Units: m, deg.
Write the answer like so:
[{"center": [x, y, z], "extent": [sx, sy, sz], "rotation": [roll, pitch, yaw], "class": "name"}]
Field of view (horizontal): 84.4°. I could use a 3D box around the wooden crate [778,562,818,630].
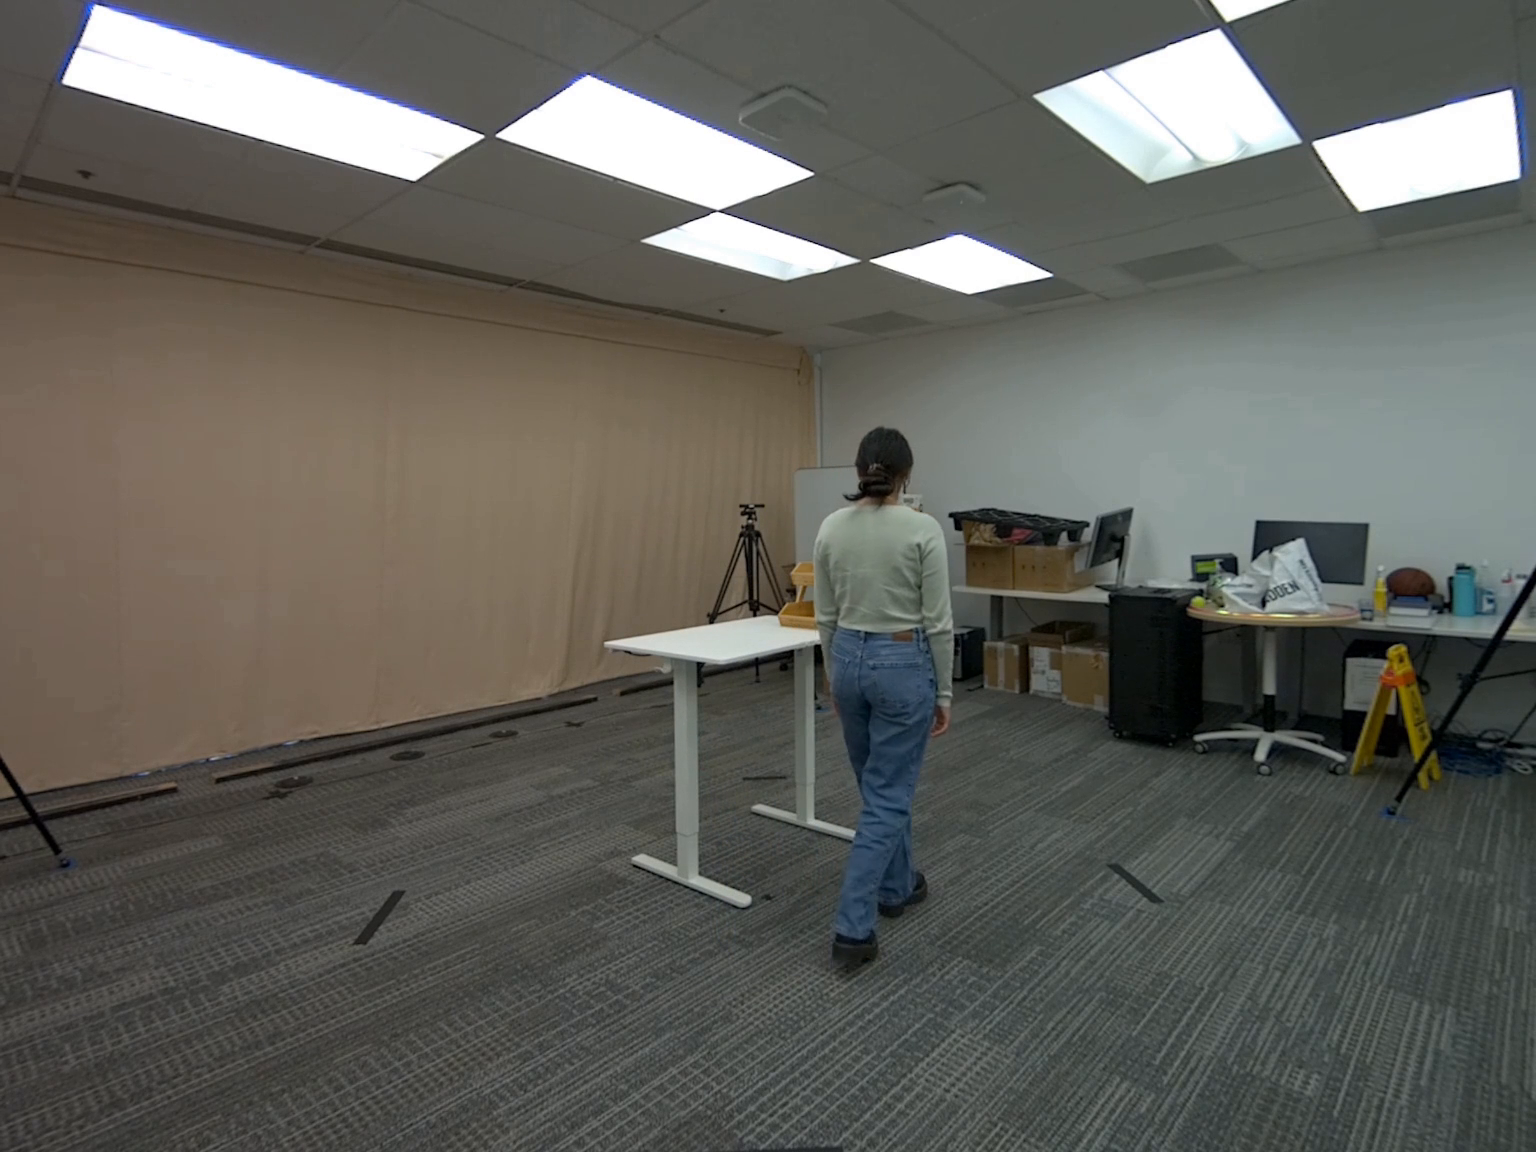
[{"center": [0.255, 0.074, 3.524], "extent": [0.335, 0.273, 0.293], "rotation": [2, 4, 41], "class": "wooden crate"}]
